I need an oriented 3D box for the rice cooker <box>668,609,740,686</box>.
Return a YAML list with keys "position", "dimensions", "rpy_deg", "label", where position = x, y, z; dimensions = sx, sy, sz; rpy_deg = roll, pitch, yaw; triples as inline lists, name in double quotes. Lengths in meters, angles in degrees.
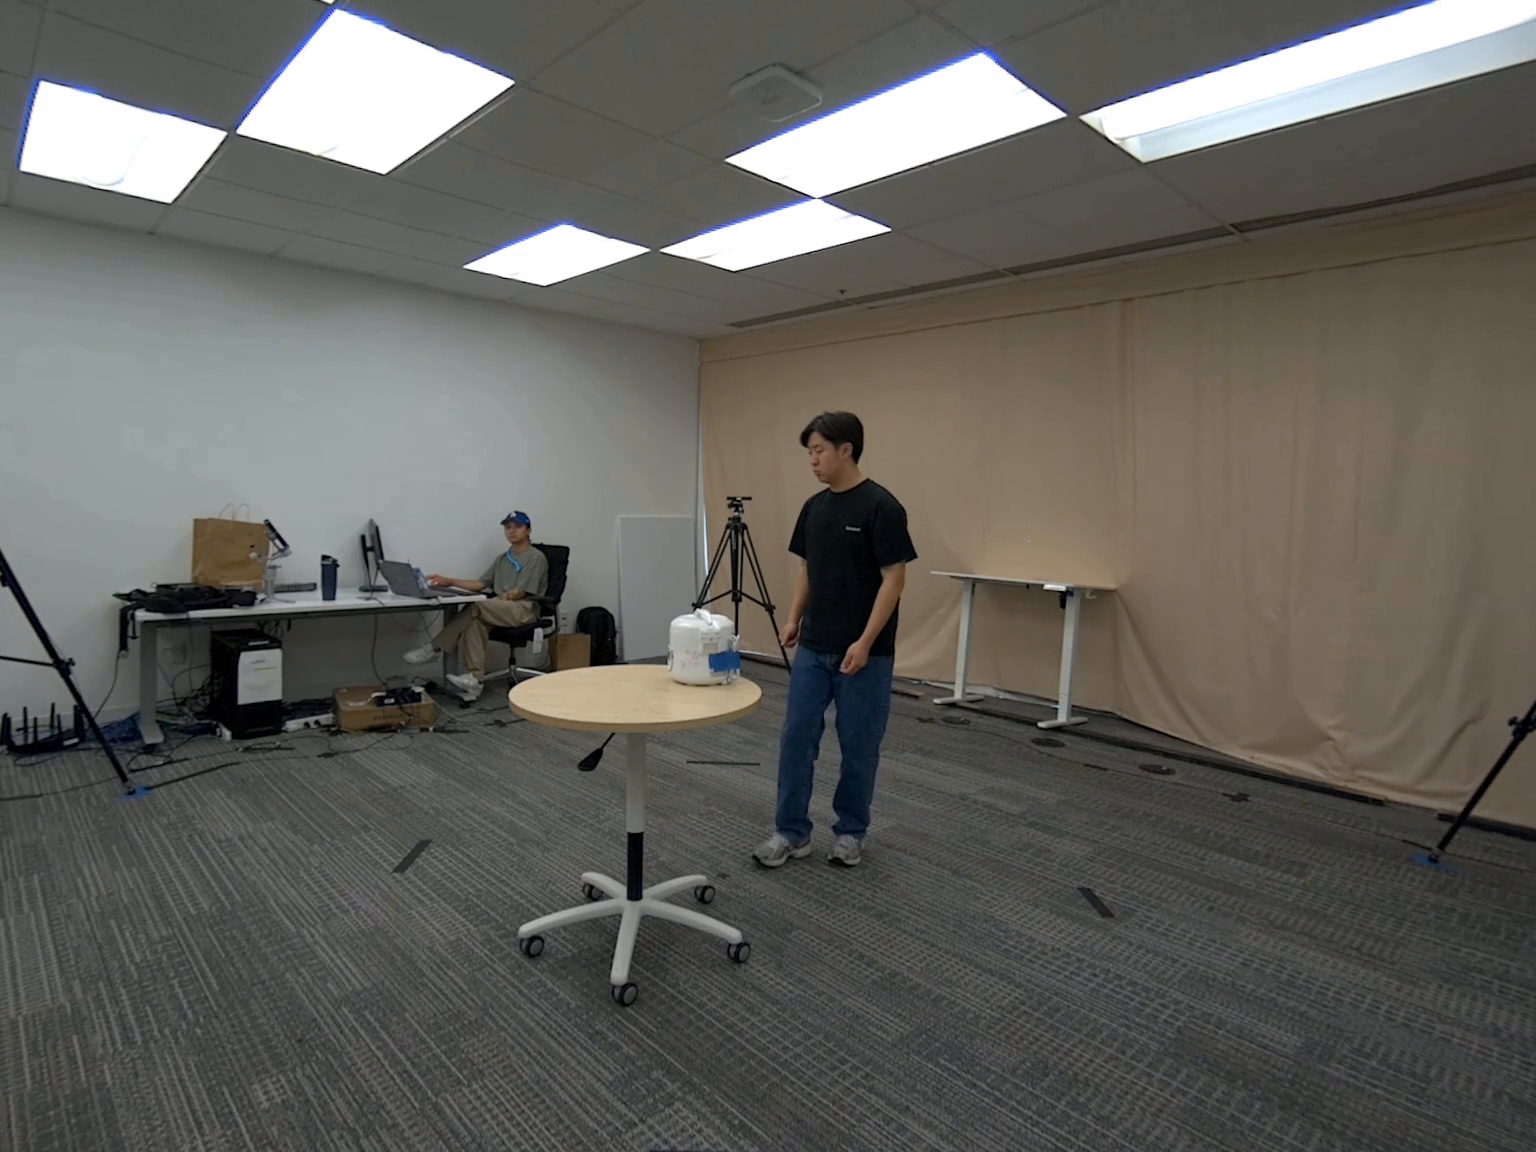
- position: [-0.217, 0.227, 2.720]
  dimensions: [0.214, 0.232, 0.224]
  rpy_deg: [1, 3, -17]
  label: "rice cooker"
